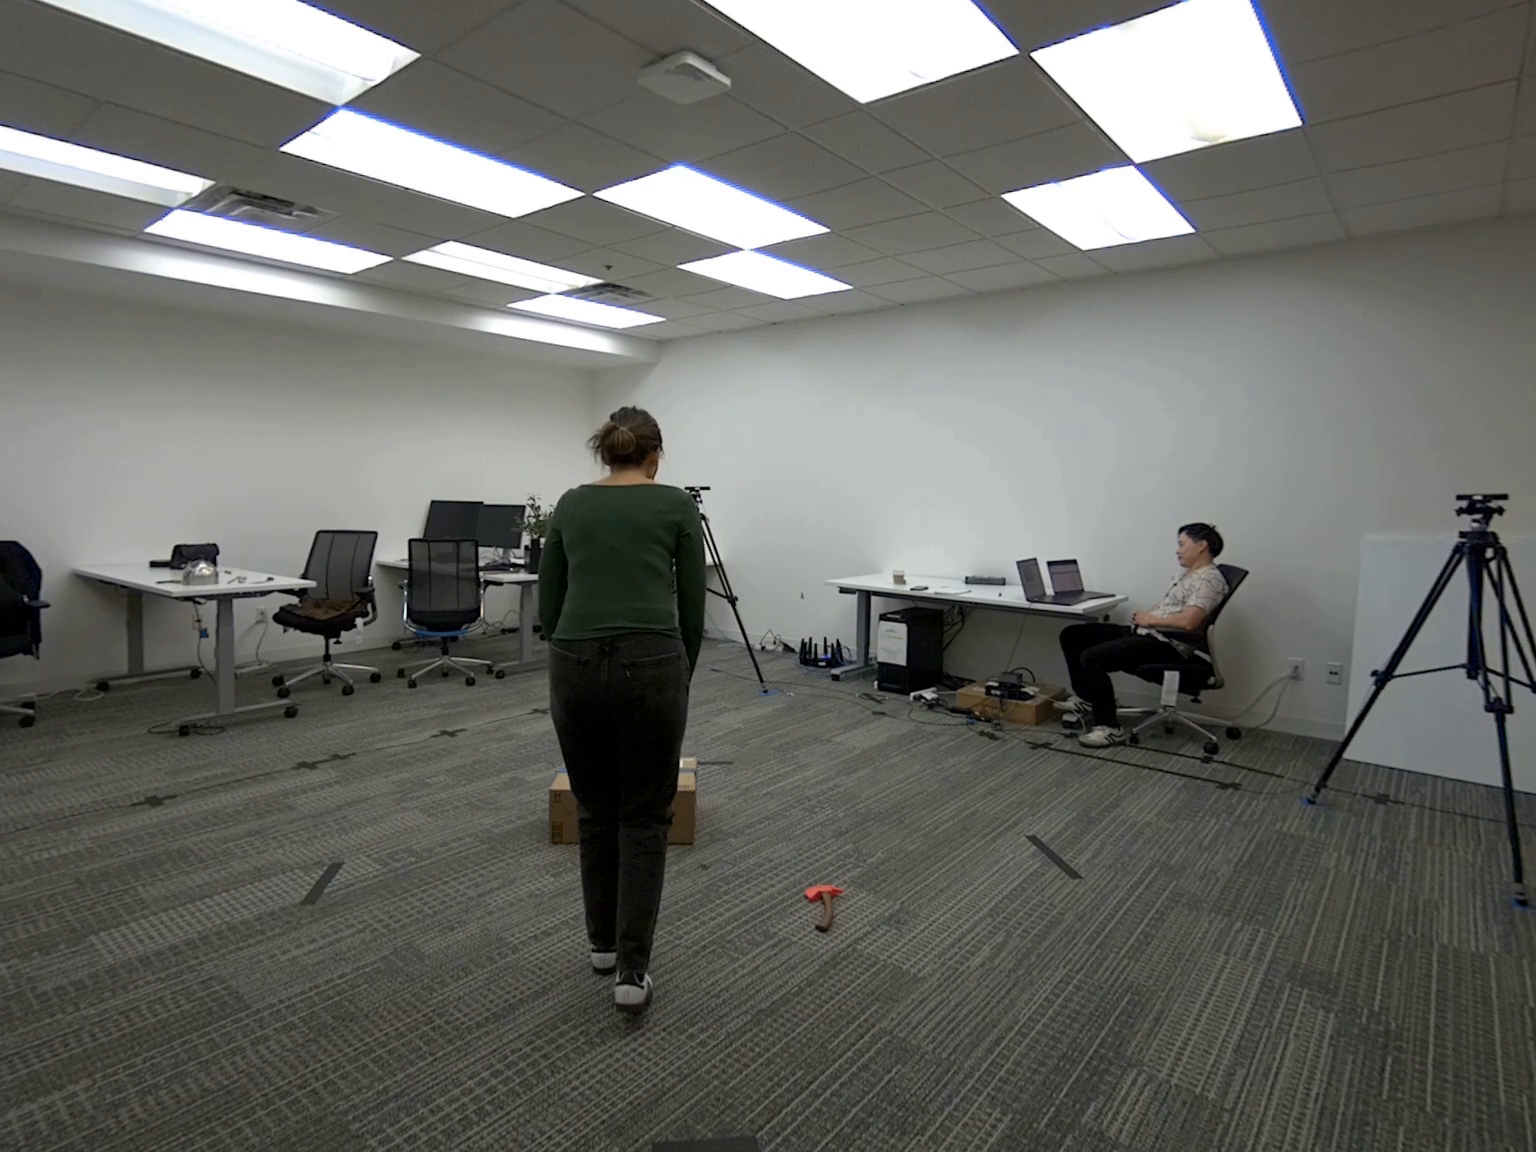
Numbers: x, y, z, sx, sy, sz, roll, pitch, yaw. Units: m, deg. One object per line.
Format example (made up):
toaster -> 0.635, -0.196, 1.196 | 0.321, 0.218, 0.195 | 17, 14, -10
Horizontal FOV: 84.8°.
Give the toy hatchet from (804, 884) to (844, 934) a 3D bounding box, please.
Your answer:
toy hatchet -> 0.158, 1.088, 2.812 | 0.134, 0.029, 0.266 | 3, 7, 17
